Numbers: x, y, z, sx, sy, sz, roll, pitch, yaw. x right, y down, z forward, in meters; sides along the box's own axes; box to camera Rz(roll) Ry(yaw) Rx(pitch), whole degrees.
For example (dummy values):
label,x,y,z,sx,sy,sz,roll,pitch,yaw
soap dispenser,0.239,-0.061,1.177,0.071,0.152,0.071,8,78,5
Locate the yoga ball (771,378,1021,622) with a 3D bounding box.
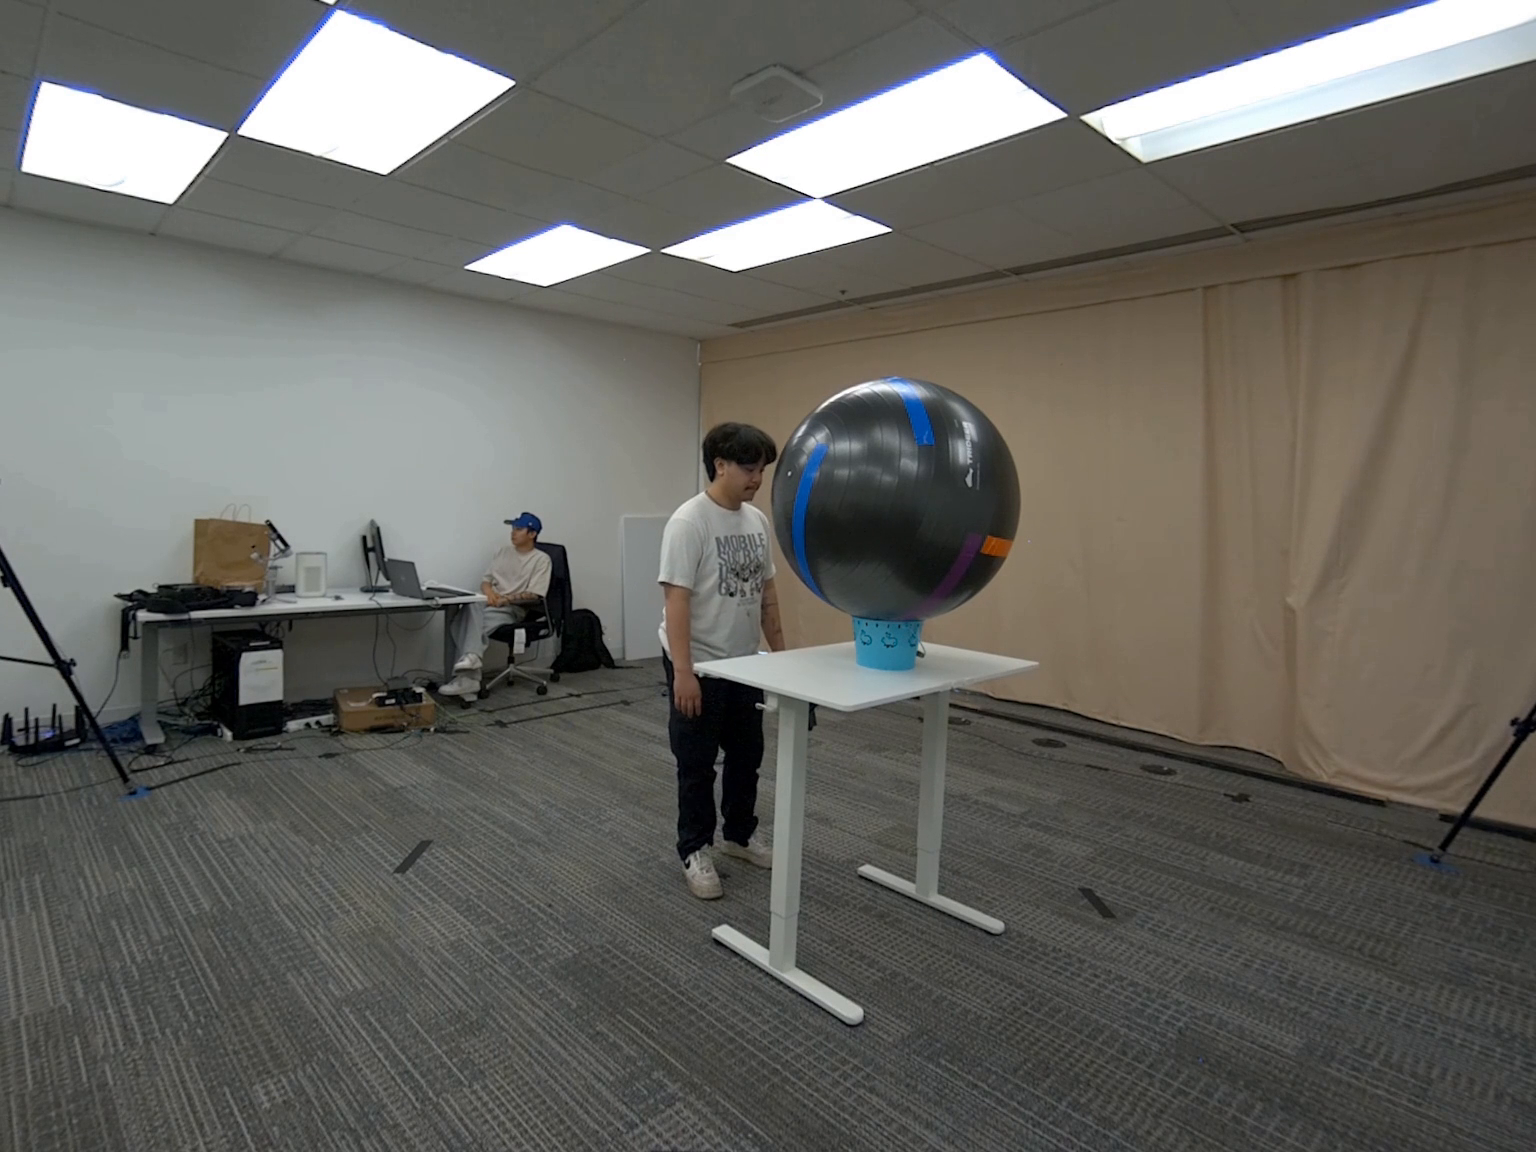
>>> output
label,x,y,z,sx,sy,sz,roll,pitch,yaw
yoga ball,0.391,-0.221,2.620,0.757,0.756,0.761,1,4,-1
